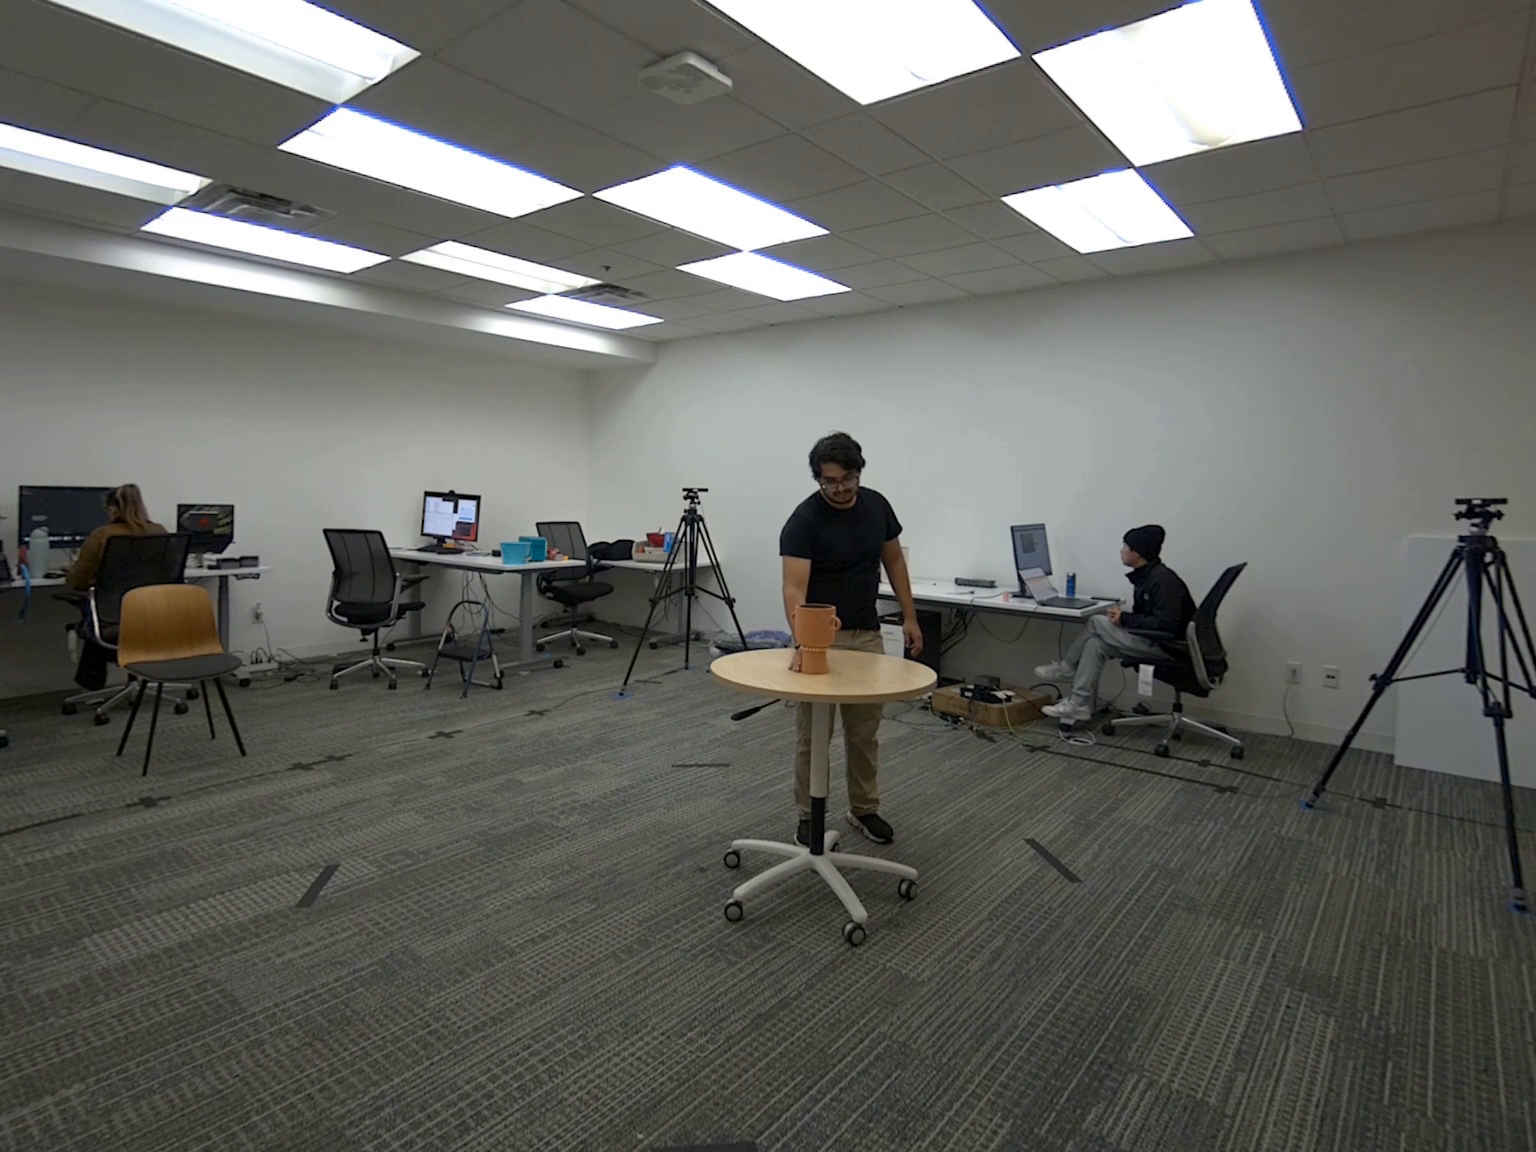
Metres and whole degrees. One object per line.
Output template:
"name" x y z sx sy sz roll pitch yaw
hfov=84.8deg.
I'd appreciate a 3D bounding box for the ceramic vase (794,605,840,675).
"ceramic vase" 0.155 0.214 2.855 0.132 0.219 0.162 3 4 -15
